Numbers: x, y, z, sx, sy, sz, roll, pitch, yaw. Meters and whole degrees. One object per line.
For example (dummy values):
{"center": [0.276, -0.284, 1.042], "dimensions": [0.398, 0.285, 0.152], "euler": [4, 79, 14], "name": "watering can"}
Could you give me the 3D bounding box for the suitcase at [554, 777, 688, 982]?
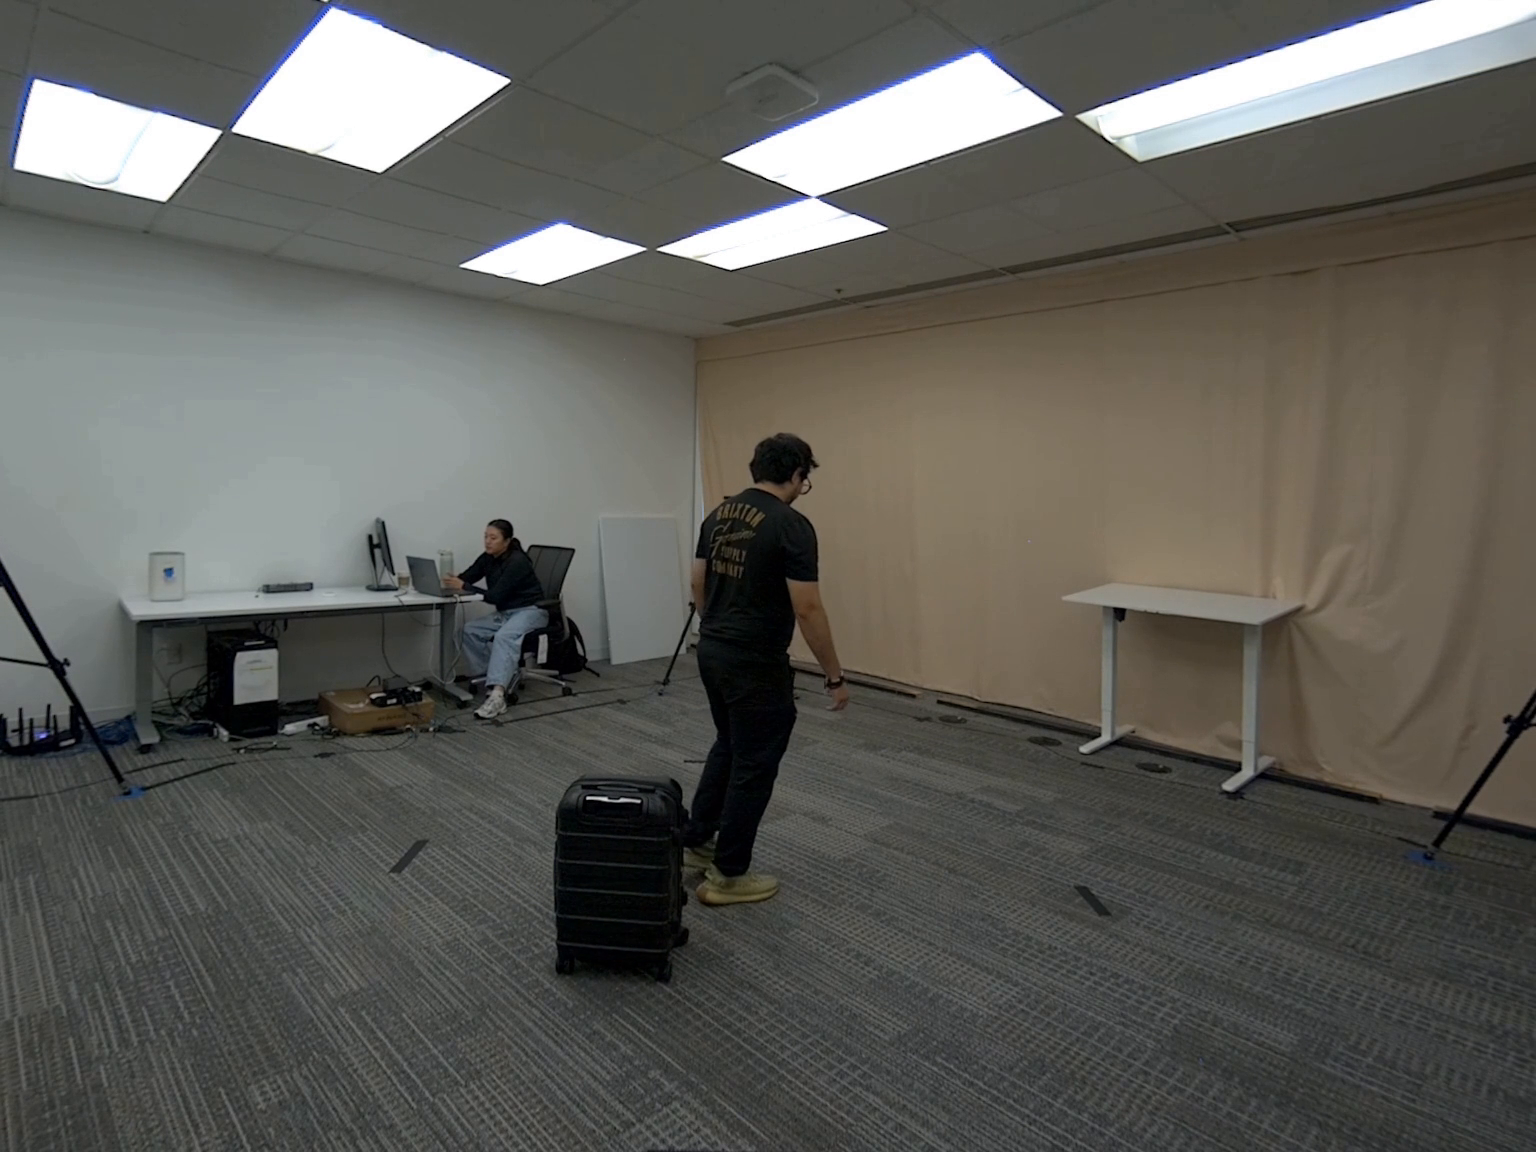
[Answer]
{"center": [-0.444, 0.876, 2.500], "dimensions": [0.377, 0.548, 0.247], "euler": [1, 3, 6], "name": "suitcase"}
